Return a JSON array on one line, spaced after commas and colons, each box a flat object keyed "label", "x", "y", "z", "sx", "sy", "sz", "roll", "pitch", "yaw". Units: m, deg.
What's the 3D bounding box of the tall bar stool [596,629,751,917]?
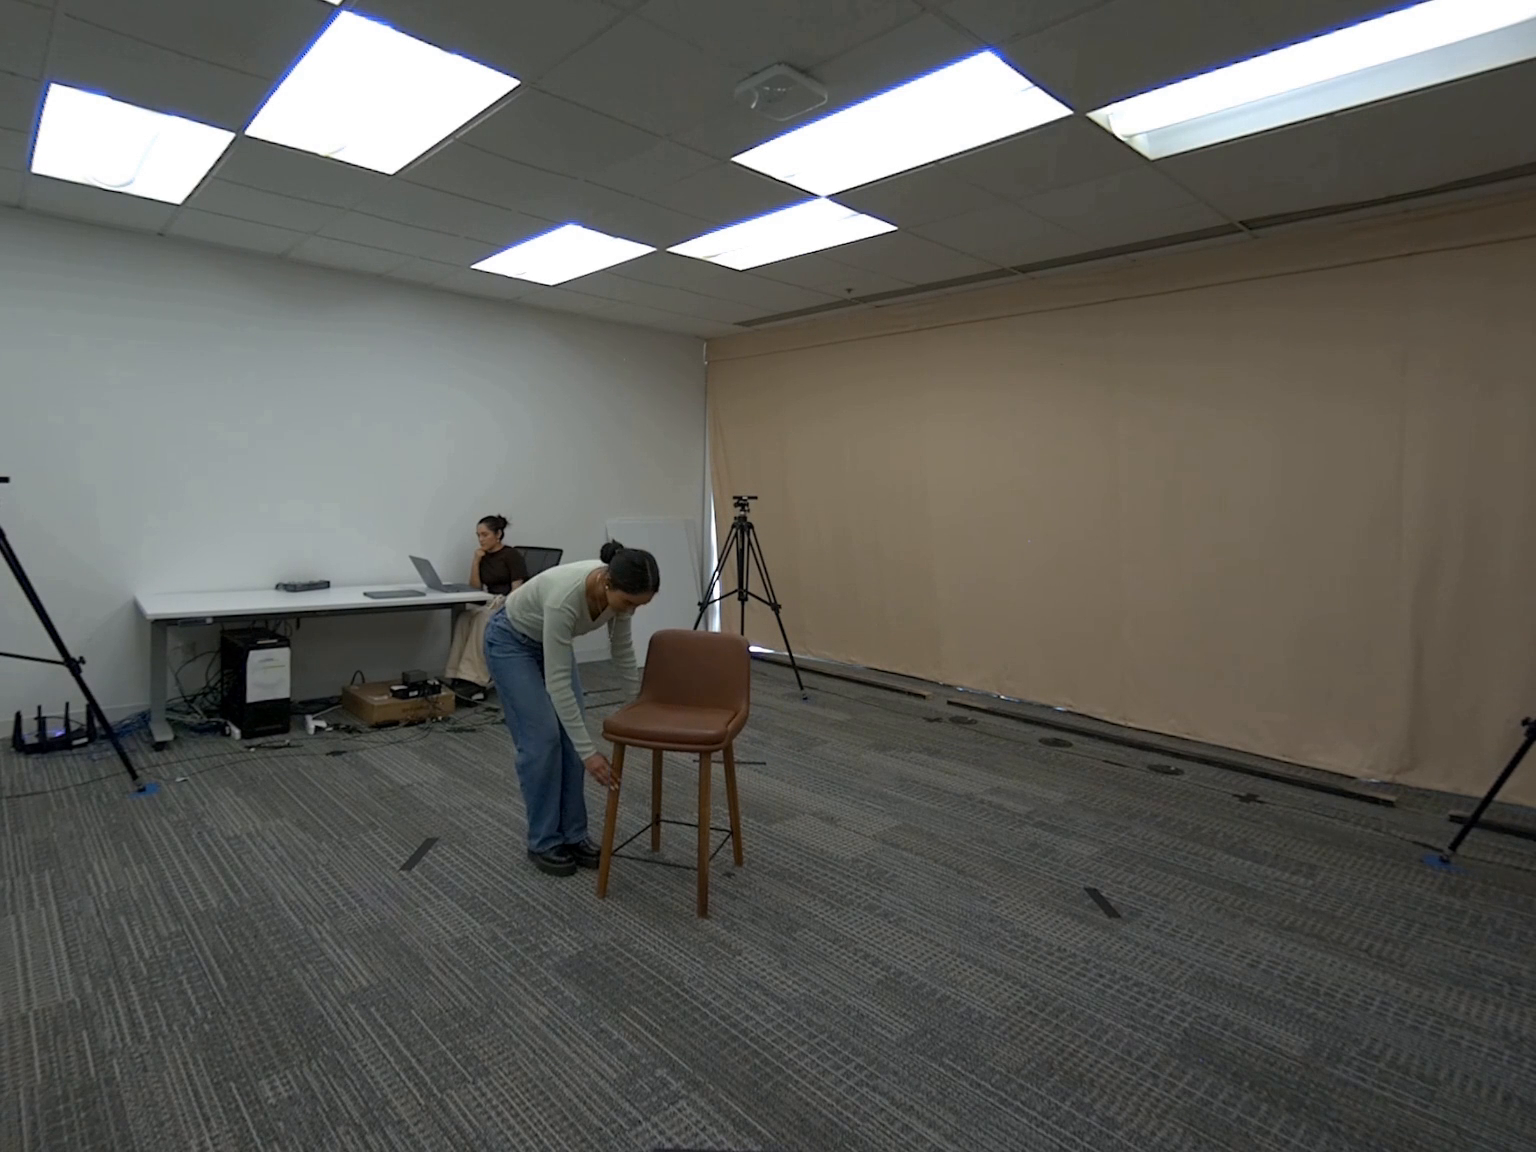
[{"label": "tall bar stool", "x": -0.334, "y": 0.678, "z": 3.023, "sx": 0.464, "sy": 0.888, "sz": 0.461, "roll": 2, "pitch": 3, "yaw": 19}]
